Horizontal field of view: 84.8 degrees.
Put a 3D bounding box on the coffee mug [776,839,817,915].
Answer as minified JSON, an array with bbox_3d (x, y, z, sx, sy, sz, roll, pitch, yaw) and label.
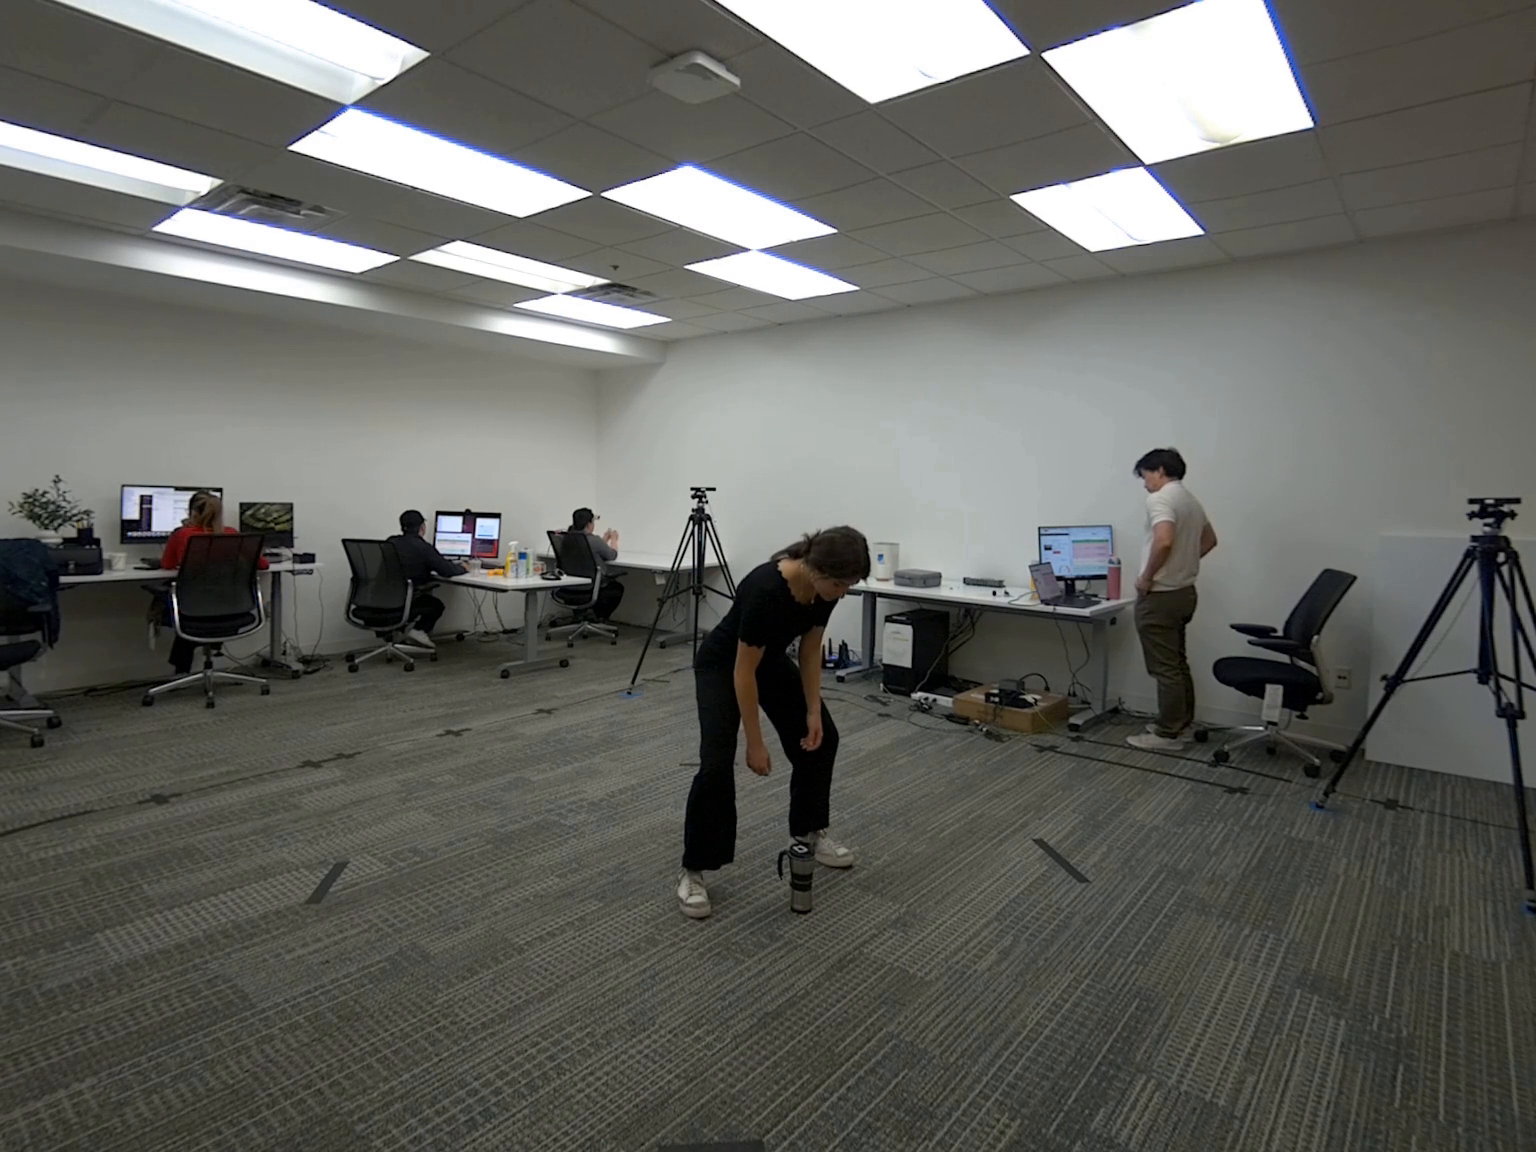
[{"bbox_3d":[0.091,1.001,2.834,0.126,0.202,0.085,9,9,44],"label":"coffee mug"}]
